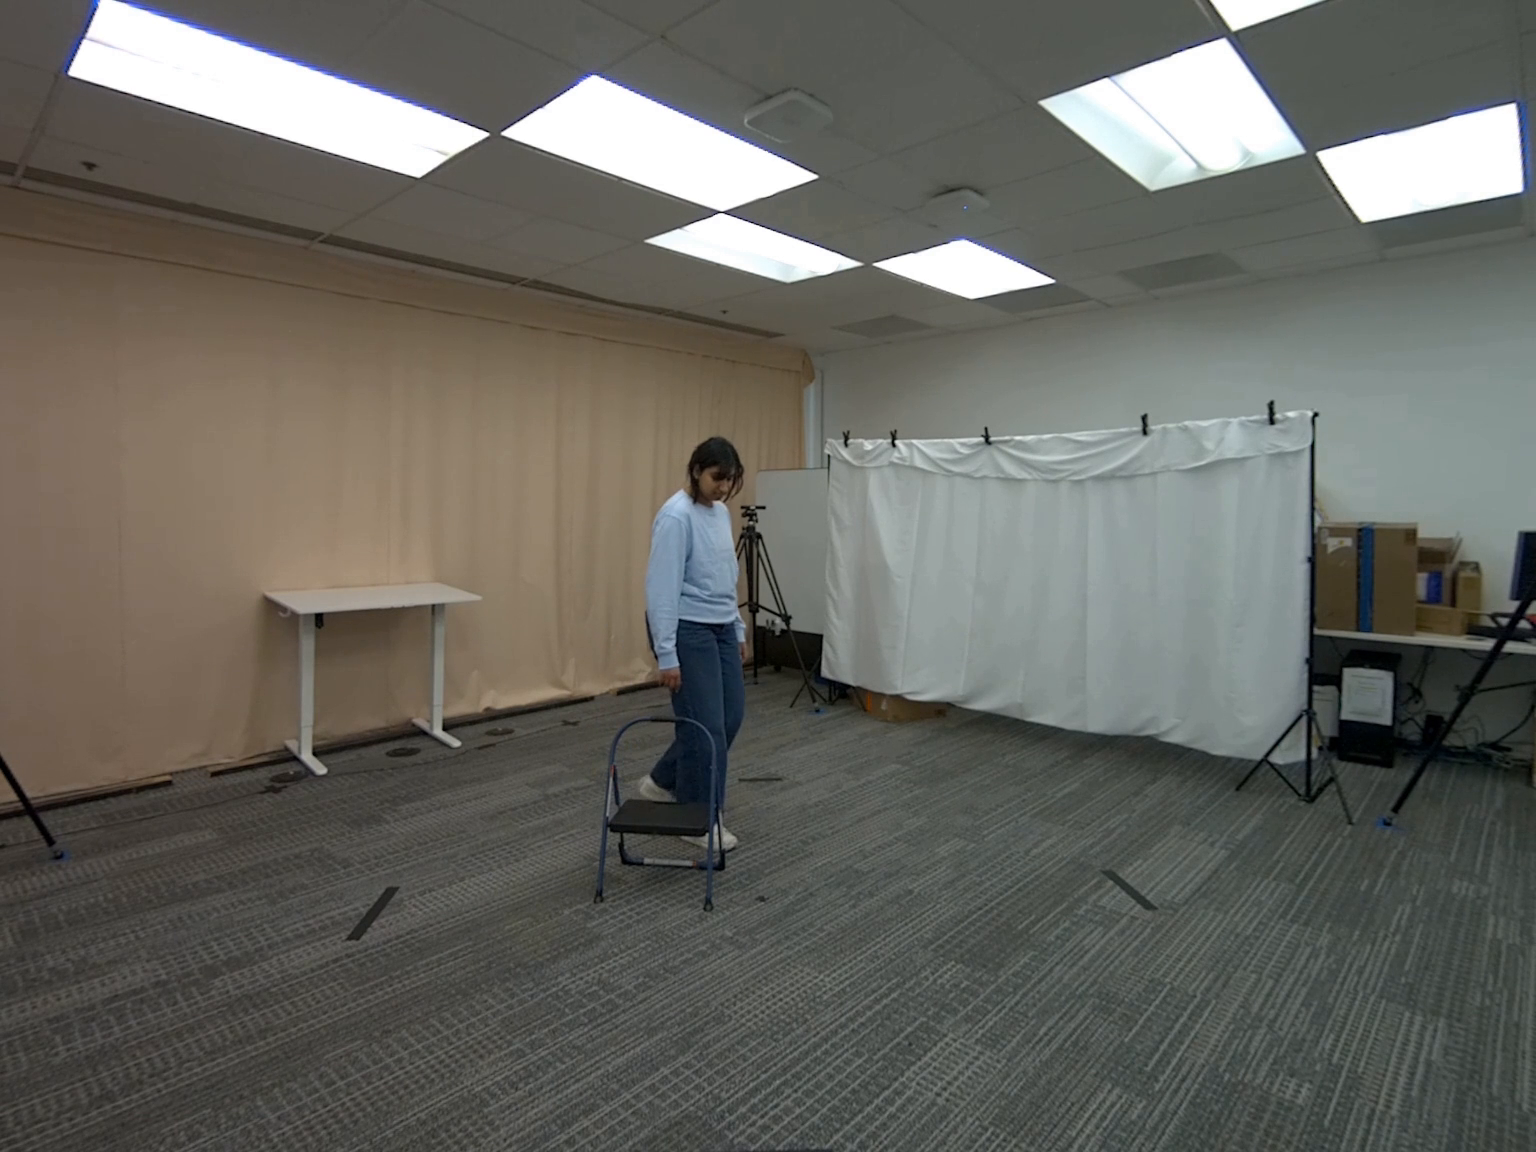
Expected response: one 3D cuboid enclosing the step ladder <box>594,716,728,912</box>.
[{"bbox_3d":[-0.390,0.835,3.086,0.435,0.605,0.346,0,3,8],"label":"step ladder"}]
